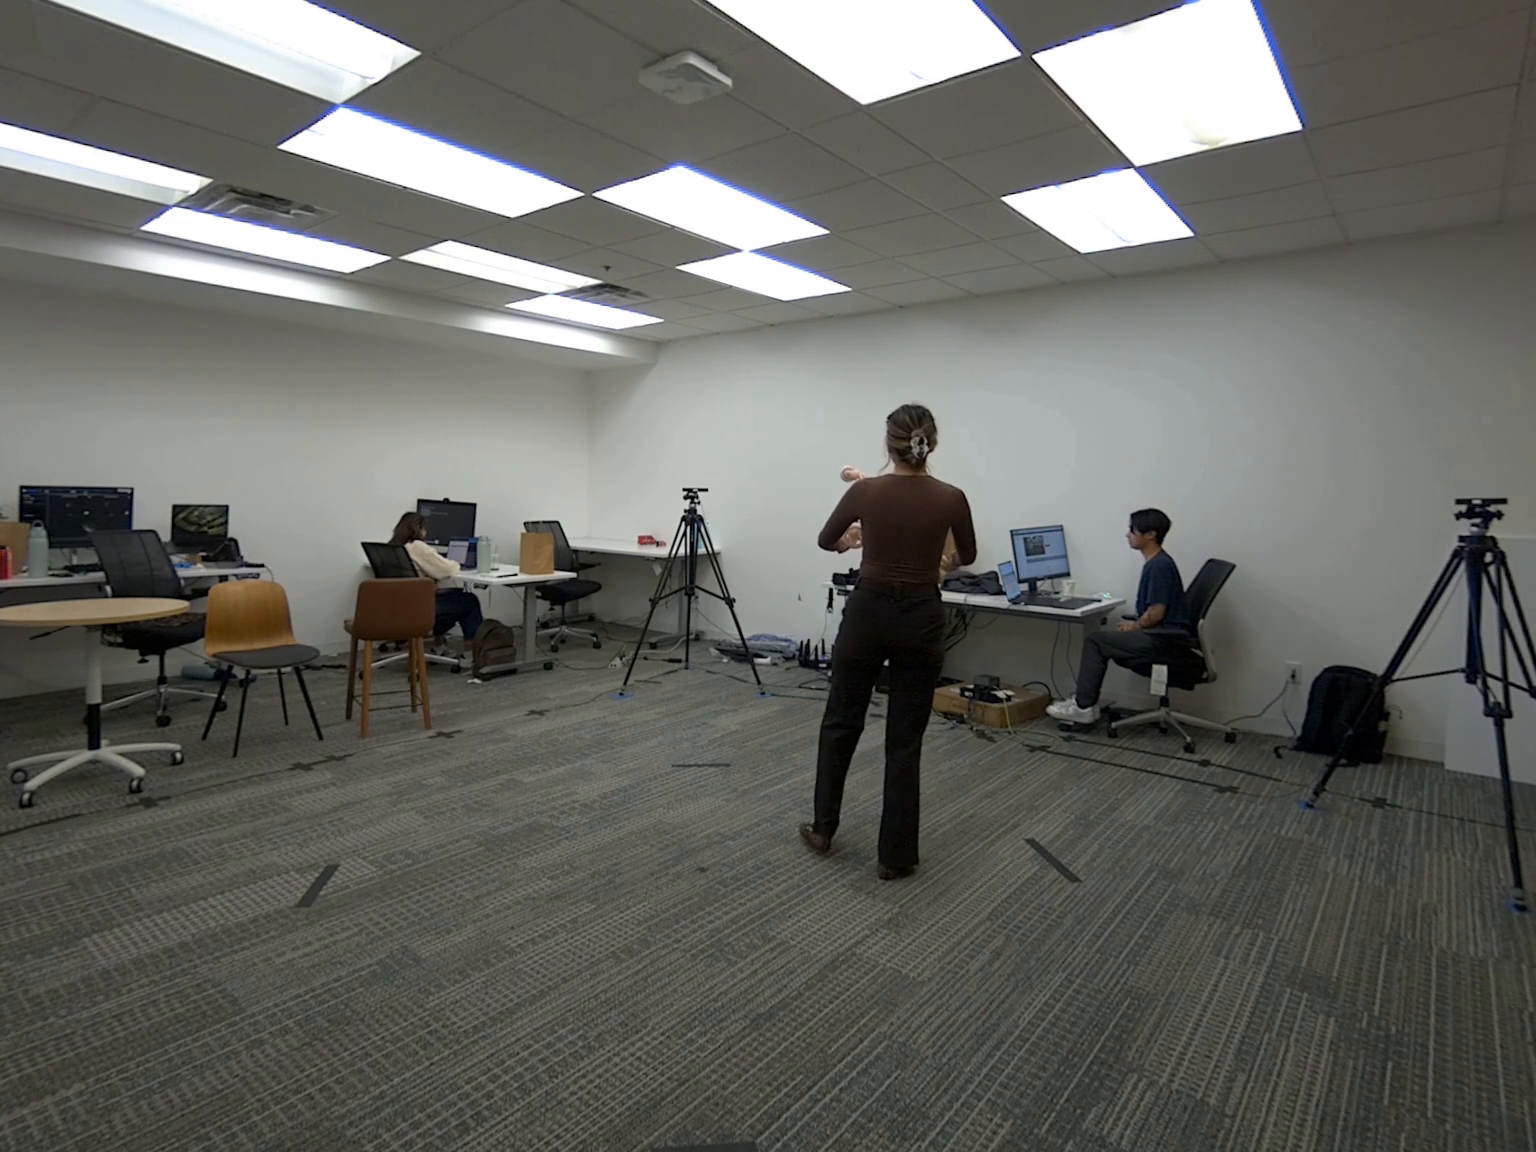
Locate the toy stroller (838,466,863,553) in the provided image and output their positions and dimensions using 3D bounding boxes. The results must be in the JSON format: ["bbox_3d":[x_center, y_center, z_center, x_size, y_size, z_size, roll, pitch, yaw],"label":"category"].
[{"bbox_3d":[0.527,-0.258,3.652,0.538,0.340,0.281,13,5,4],"label":"toy stroller"}]
